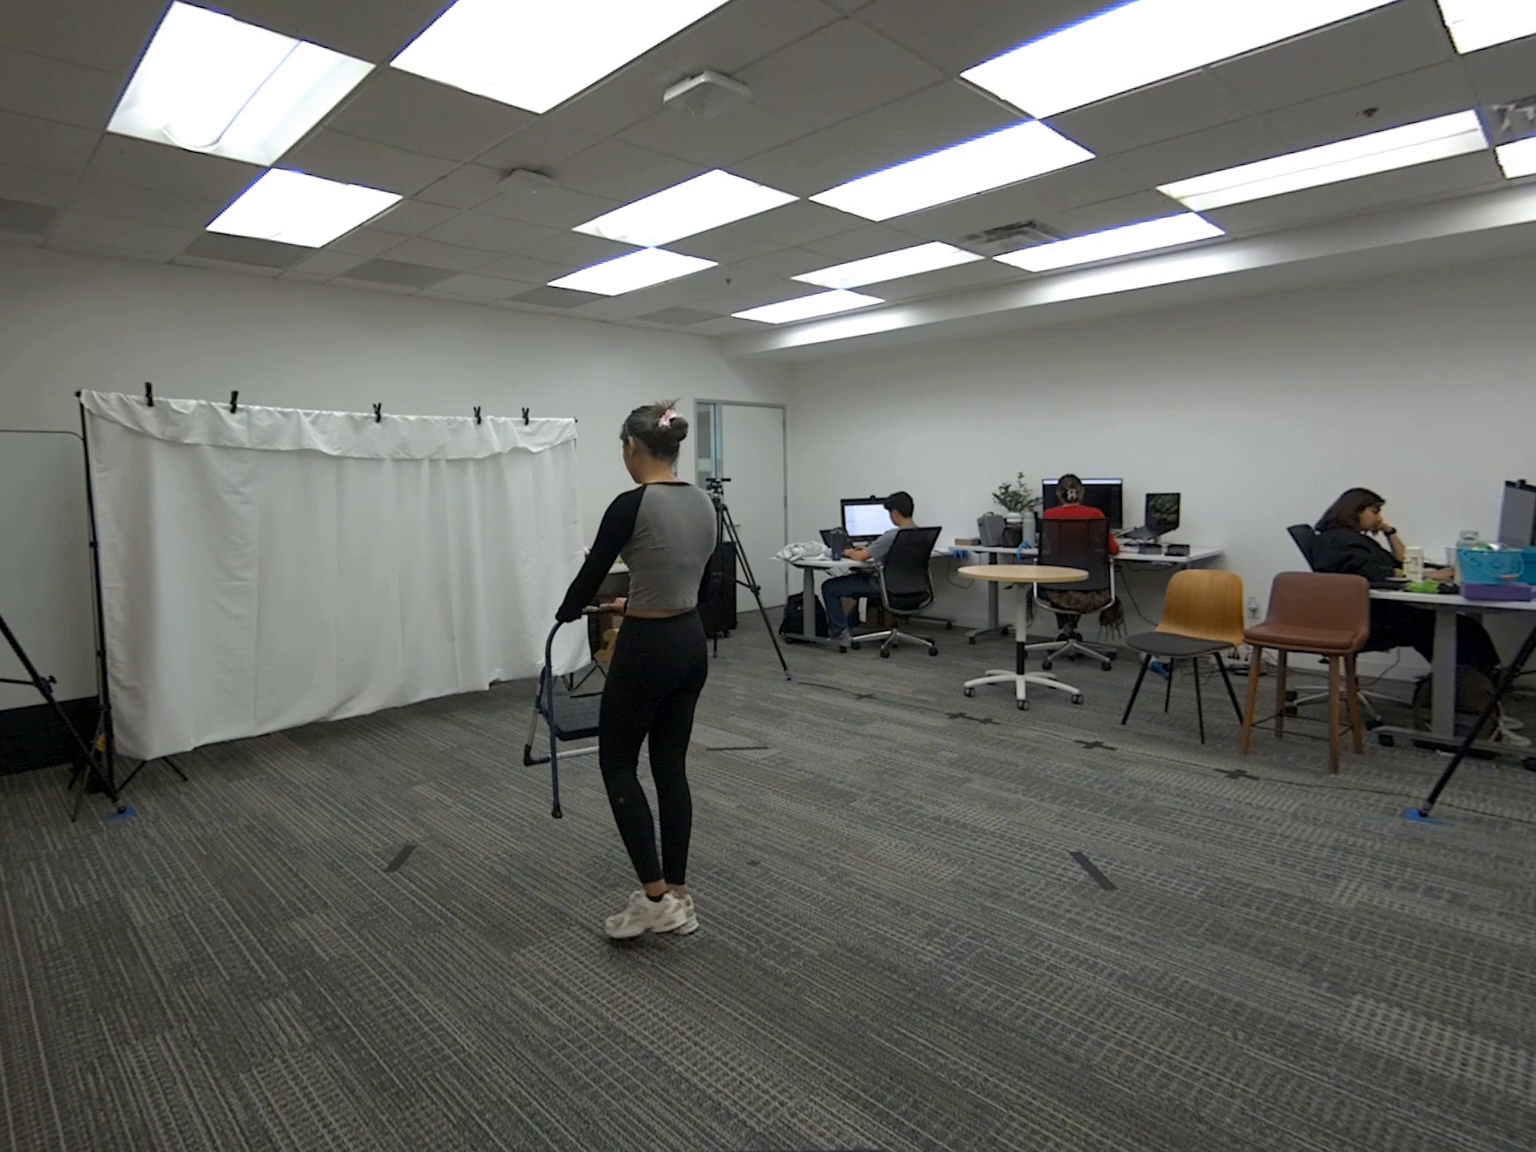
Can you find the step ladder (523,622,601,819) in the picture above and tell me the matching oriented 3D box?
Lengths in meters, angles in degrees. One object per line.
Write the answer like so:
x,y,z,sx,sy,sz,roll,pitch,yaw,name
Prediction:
-0.564,0.421,2.909,0.419,0.599,0.362,-3,18,-35,step ladder
